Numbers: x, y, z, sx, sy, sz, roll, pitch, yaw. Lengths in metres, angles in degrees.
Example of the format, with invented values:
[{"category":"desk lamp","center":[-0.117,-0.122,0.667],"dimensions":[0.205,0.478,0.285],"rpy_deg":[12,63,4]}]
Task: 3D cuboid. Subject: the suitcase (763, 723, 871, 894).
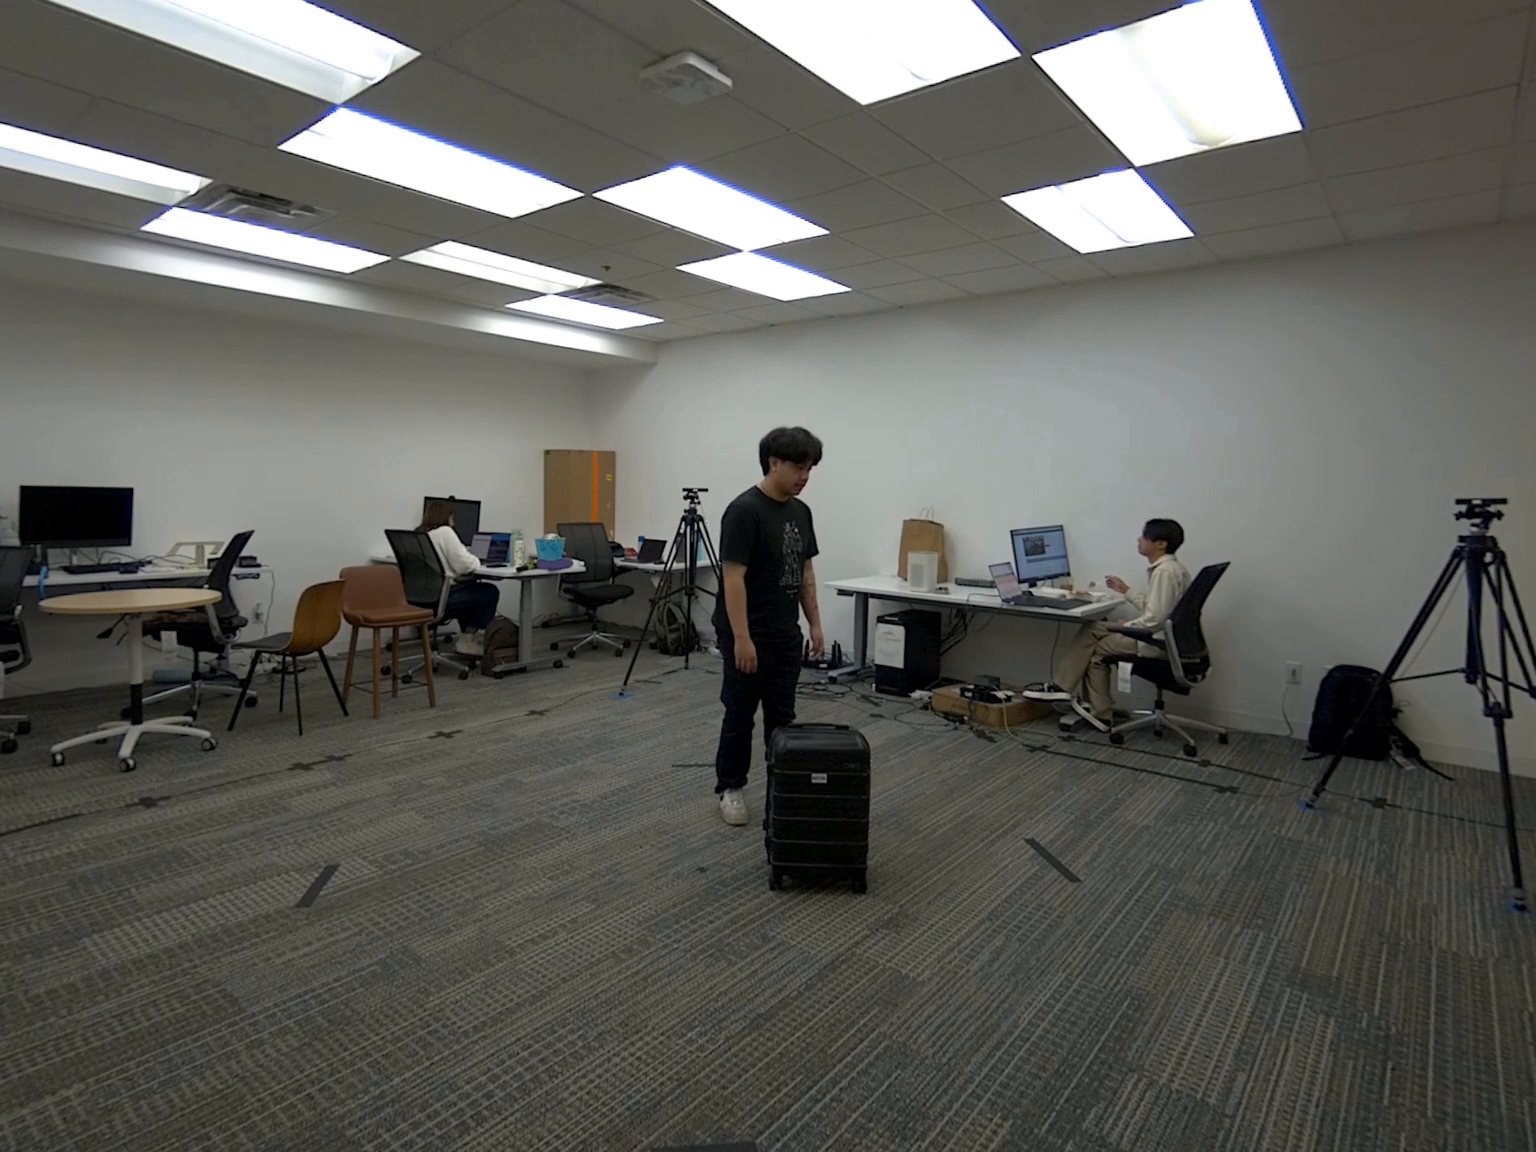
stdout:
[{"category":"suitcase","center":[0.177,0.807,3.048],"dimensions":[0.374,0.546,0.250],"rpy_deg":[1,5,-3]}]
